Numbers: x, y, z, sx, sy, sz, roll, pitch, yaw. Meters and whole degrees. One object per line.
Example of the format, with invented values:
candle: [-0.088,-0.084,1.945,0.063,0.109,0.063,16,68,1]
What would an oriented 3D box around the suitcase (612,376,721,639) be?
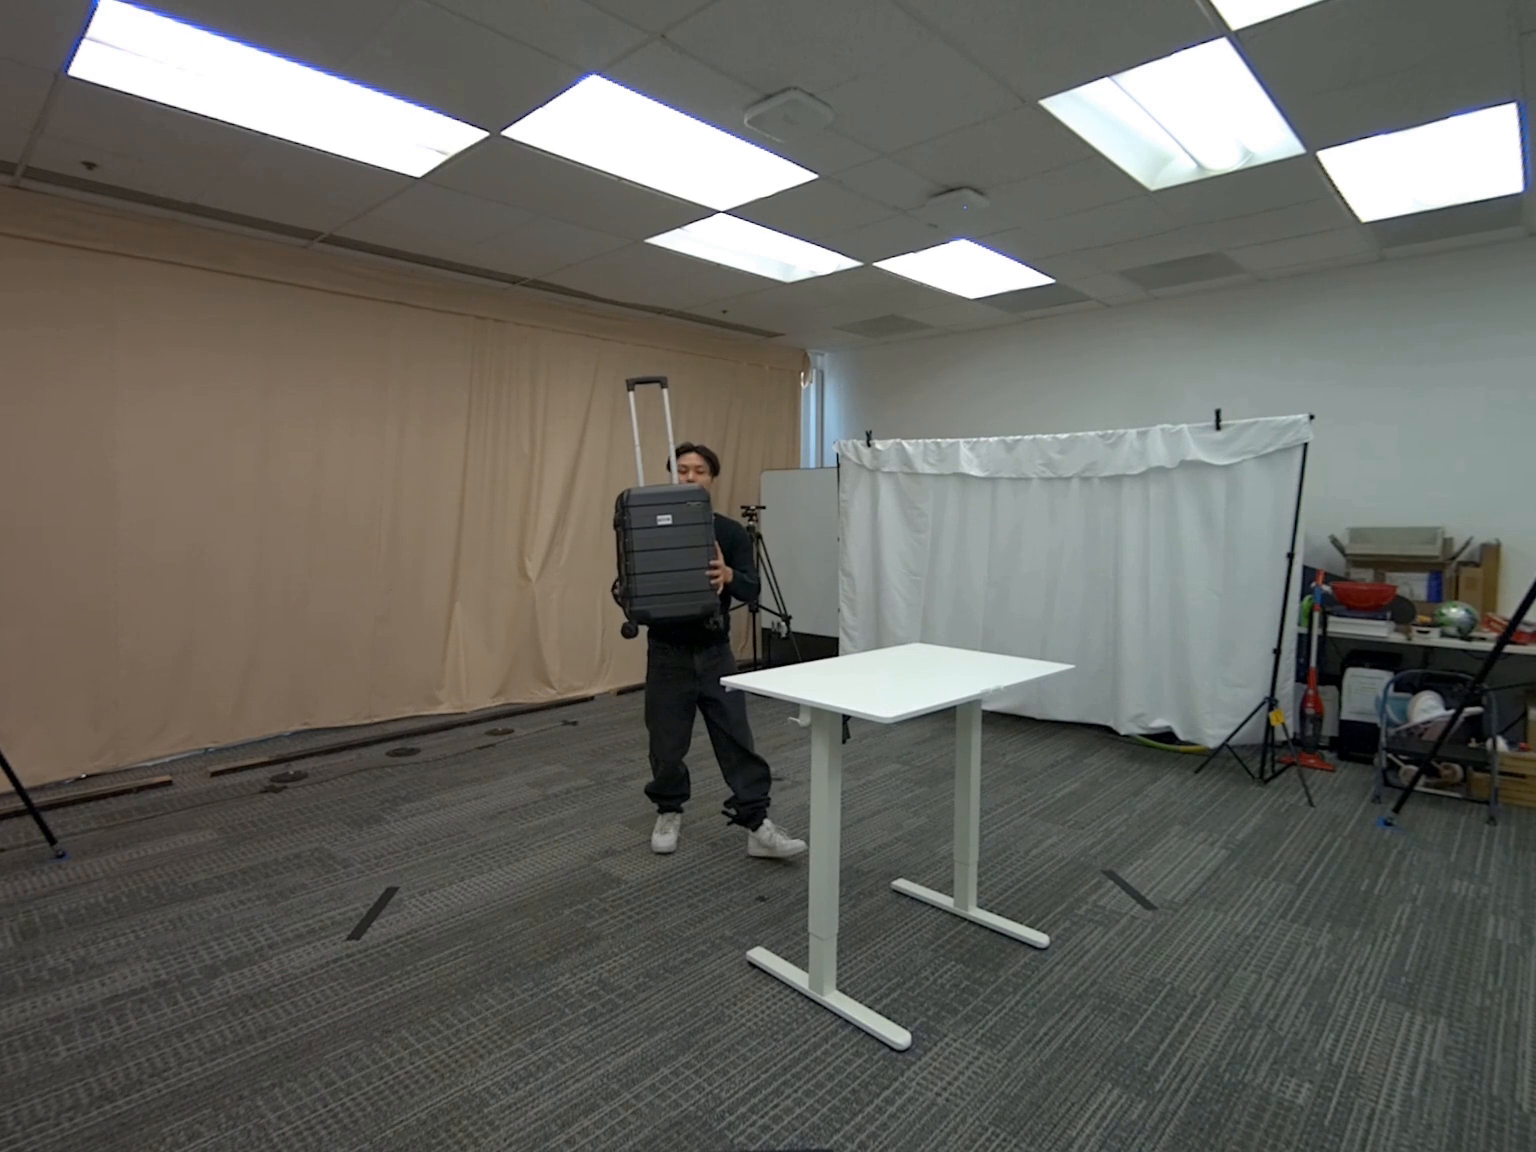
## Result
suitcase: [-0.376,-0.269,3.114,0.380,0.979,0.259,-5,-1,-10]
